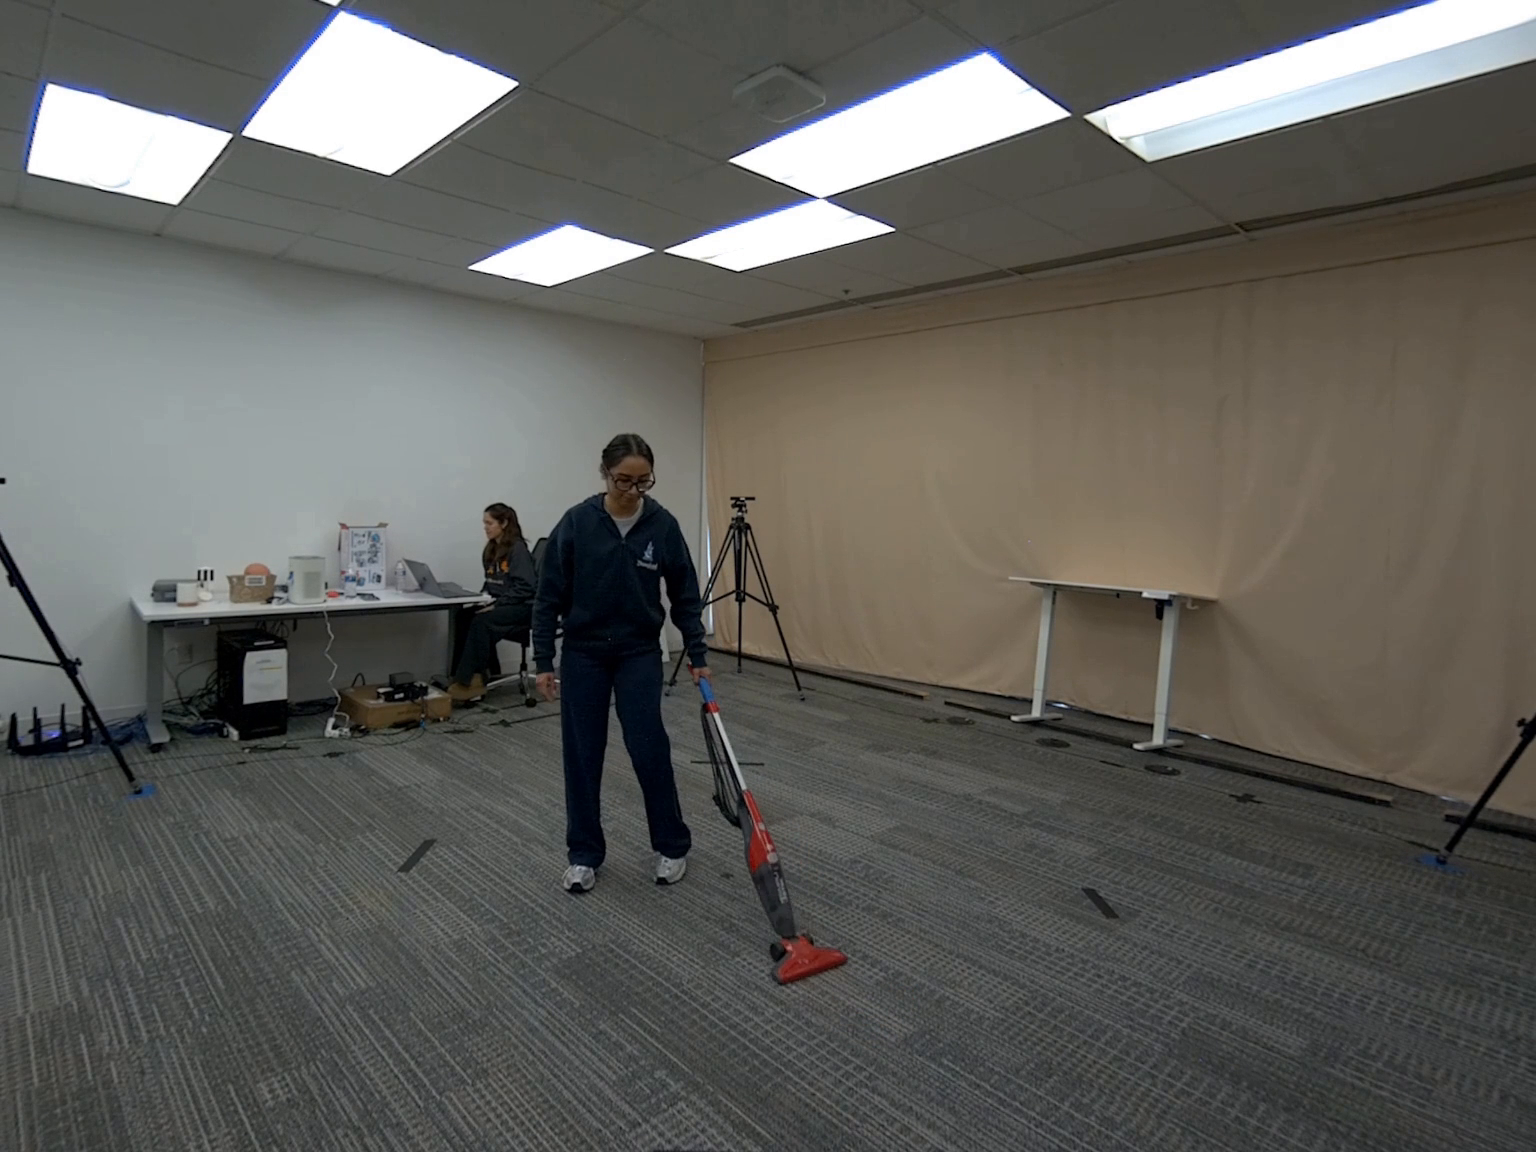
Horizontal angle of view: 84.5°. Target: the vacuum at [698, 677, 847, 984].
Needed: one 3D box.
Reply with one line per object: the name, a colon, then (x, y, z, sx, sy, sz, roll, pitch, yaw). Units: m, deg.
vacuum: (-0.087, 0.753, 2.809, 0.246, 1.078, 0.143, 4, -42, -38)
